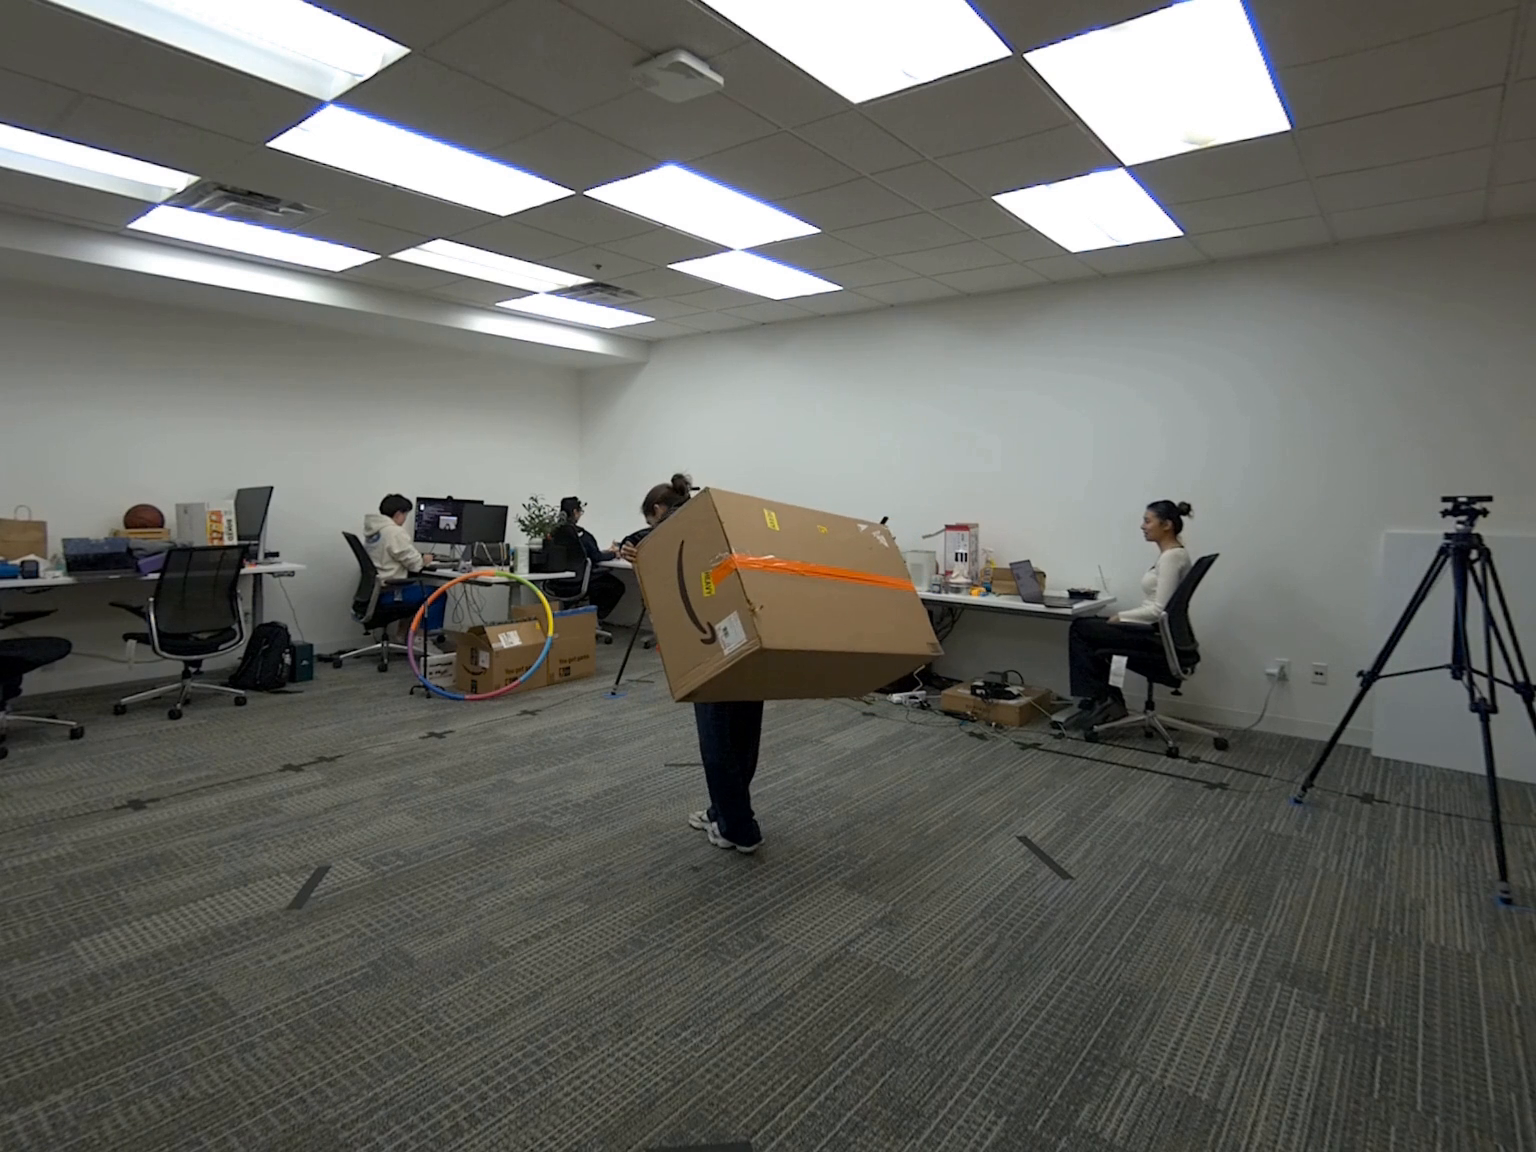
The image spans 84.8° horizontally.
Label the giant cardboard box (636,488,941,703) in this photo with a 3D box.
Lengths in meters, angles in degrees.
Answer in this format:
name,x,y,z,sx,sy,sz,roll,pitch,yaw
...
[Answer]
name,x,y,z,sx,sy,sz,roll,pitch,yaw
giant cardboard box,0.107,0.100,3.088,0.990,0.594,0.429,7,-35,-45
